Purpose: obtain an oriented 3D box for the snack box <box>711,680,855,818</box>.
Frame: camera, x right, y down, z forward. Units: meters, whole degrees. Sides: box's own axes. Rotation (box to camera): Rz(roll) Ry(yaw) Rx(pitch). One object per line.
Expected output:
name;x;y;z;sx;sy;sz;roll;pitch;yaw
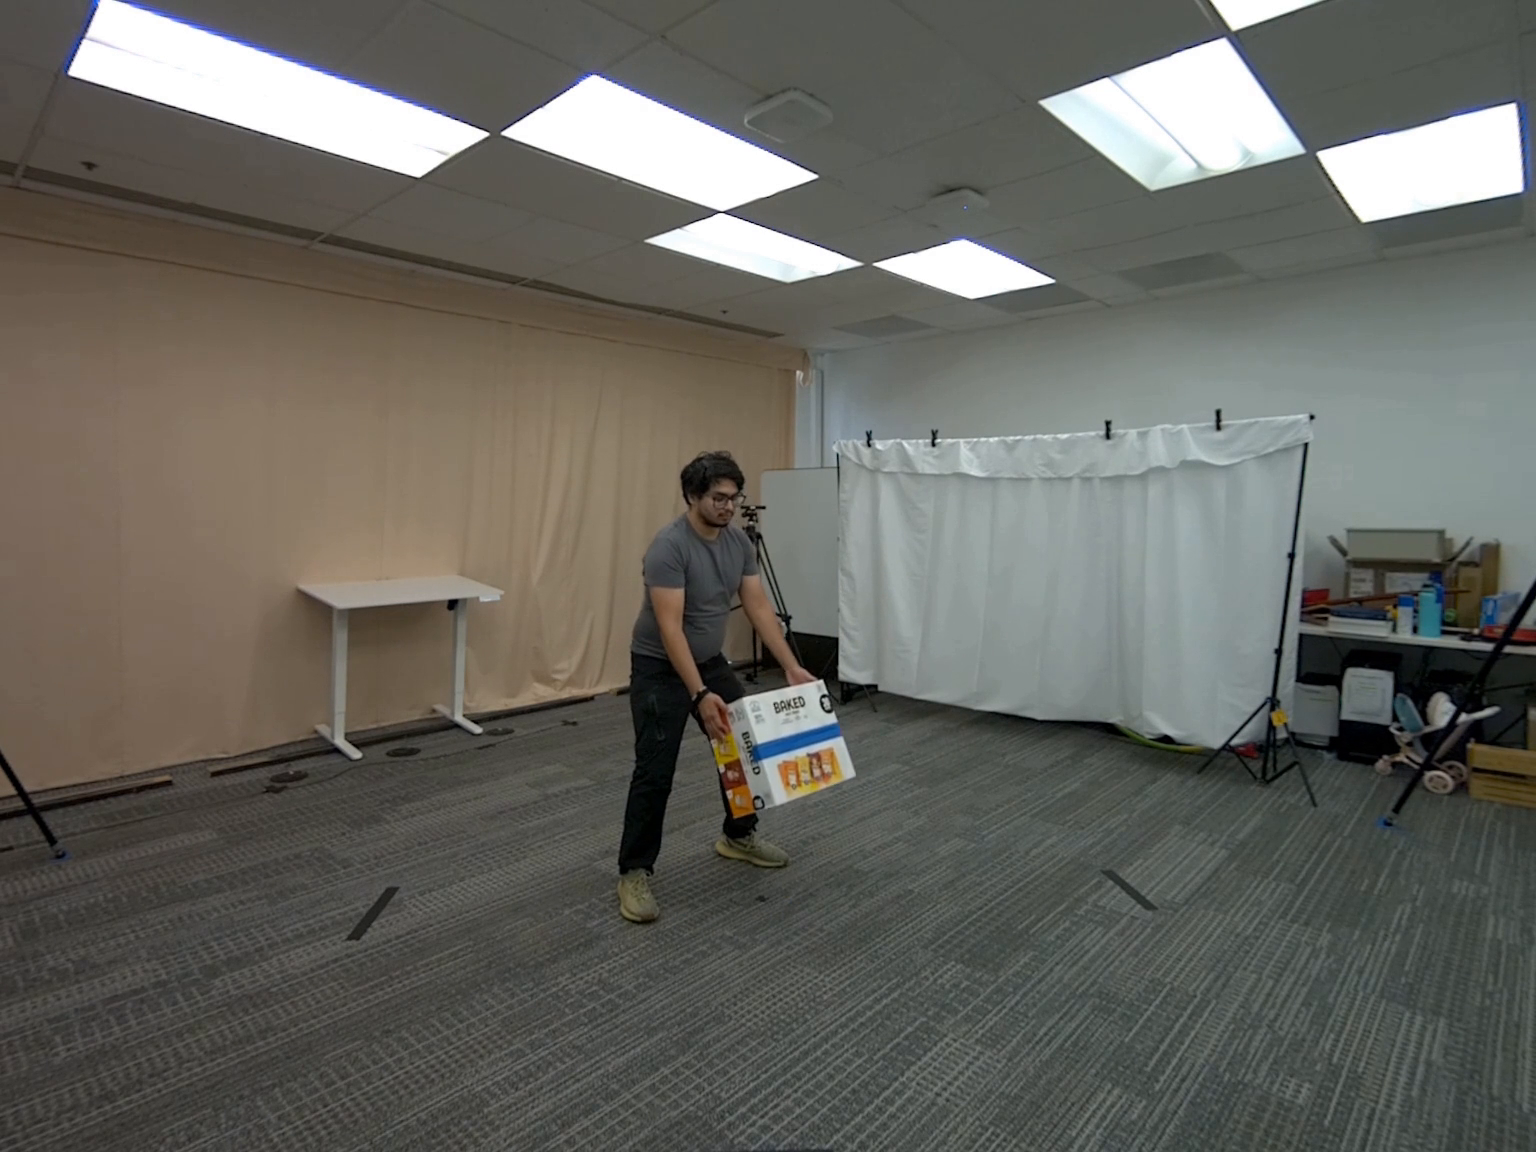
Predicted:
snack box;0.040;0.570;2.807;0.393;0.345;0.209;-4;-20;-45
